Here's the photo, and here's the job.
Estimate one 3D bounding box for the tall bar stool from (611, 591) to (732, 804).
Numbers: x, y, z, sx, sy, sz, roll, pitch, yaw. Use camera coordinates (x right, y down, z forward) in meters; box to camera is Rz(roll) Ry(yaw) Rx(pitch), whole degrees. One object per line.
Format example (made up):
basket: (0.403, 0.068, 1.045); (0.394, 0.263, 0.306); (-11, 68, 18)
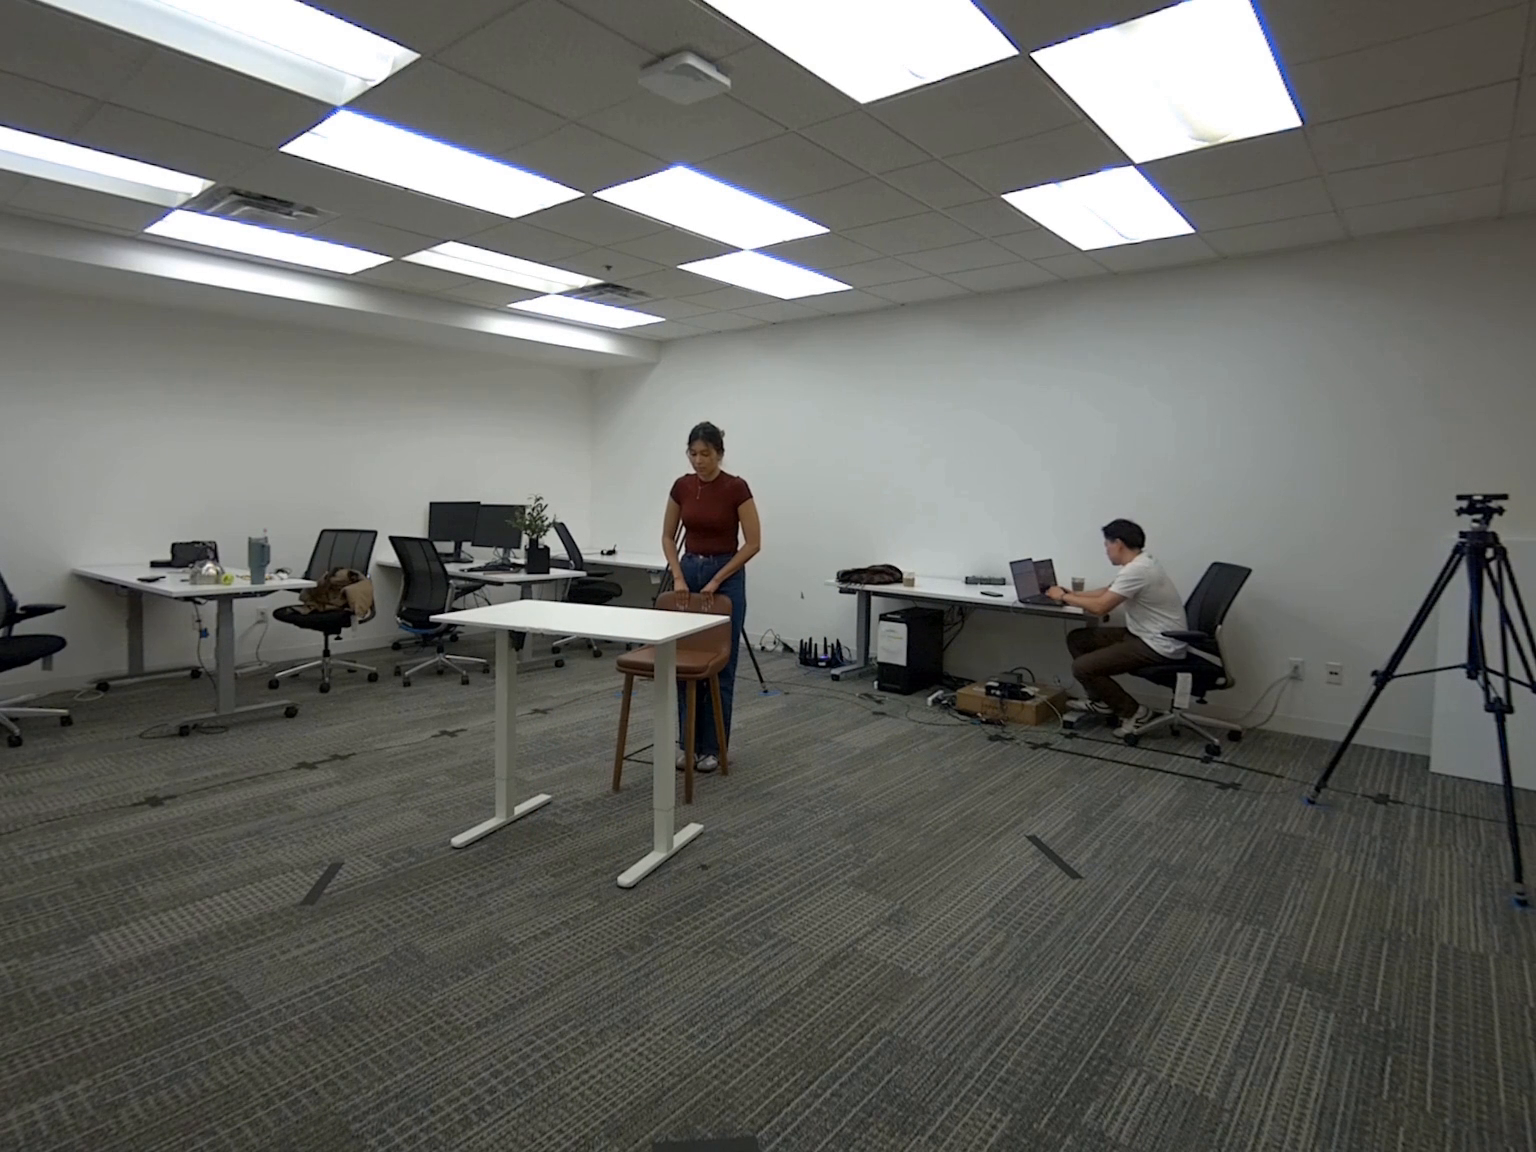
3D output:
tall bar stool: (-0.452, 0.533, 4.000); (0.468, 0.889, 0.456); (2, 1, 25)
